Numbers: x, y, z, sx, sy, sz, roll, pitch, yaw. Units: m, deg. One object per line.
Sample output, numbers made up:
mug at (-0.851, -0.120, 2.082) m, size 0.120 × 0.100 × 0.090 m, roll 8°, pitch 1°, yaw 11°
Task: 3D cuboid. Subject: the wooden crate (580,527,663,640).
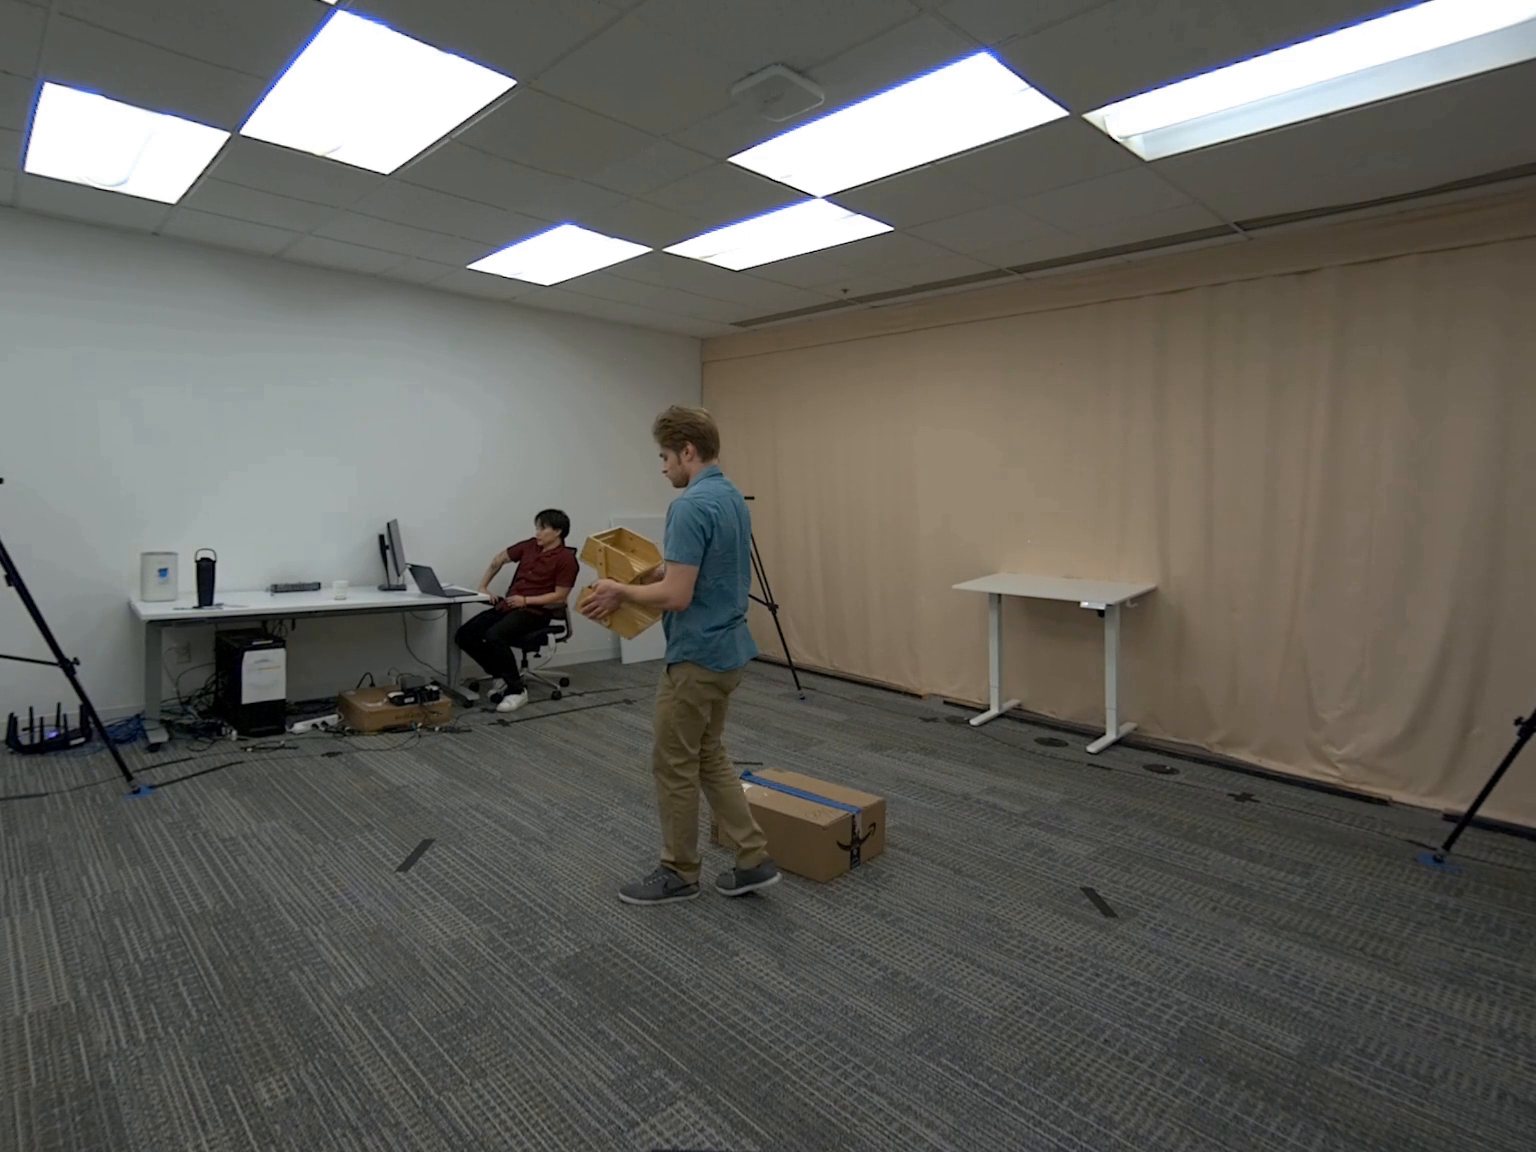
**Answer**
wooden crate at (-0.489, 0.019, 2.983) m, size 0.304 × 0.272 × 0.324 m, roll 26°, pitch 13°, yaw 5°
